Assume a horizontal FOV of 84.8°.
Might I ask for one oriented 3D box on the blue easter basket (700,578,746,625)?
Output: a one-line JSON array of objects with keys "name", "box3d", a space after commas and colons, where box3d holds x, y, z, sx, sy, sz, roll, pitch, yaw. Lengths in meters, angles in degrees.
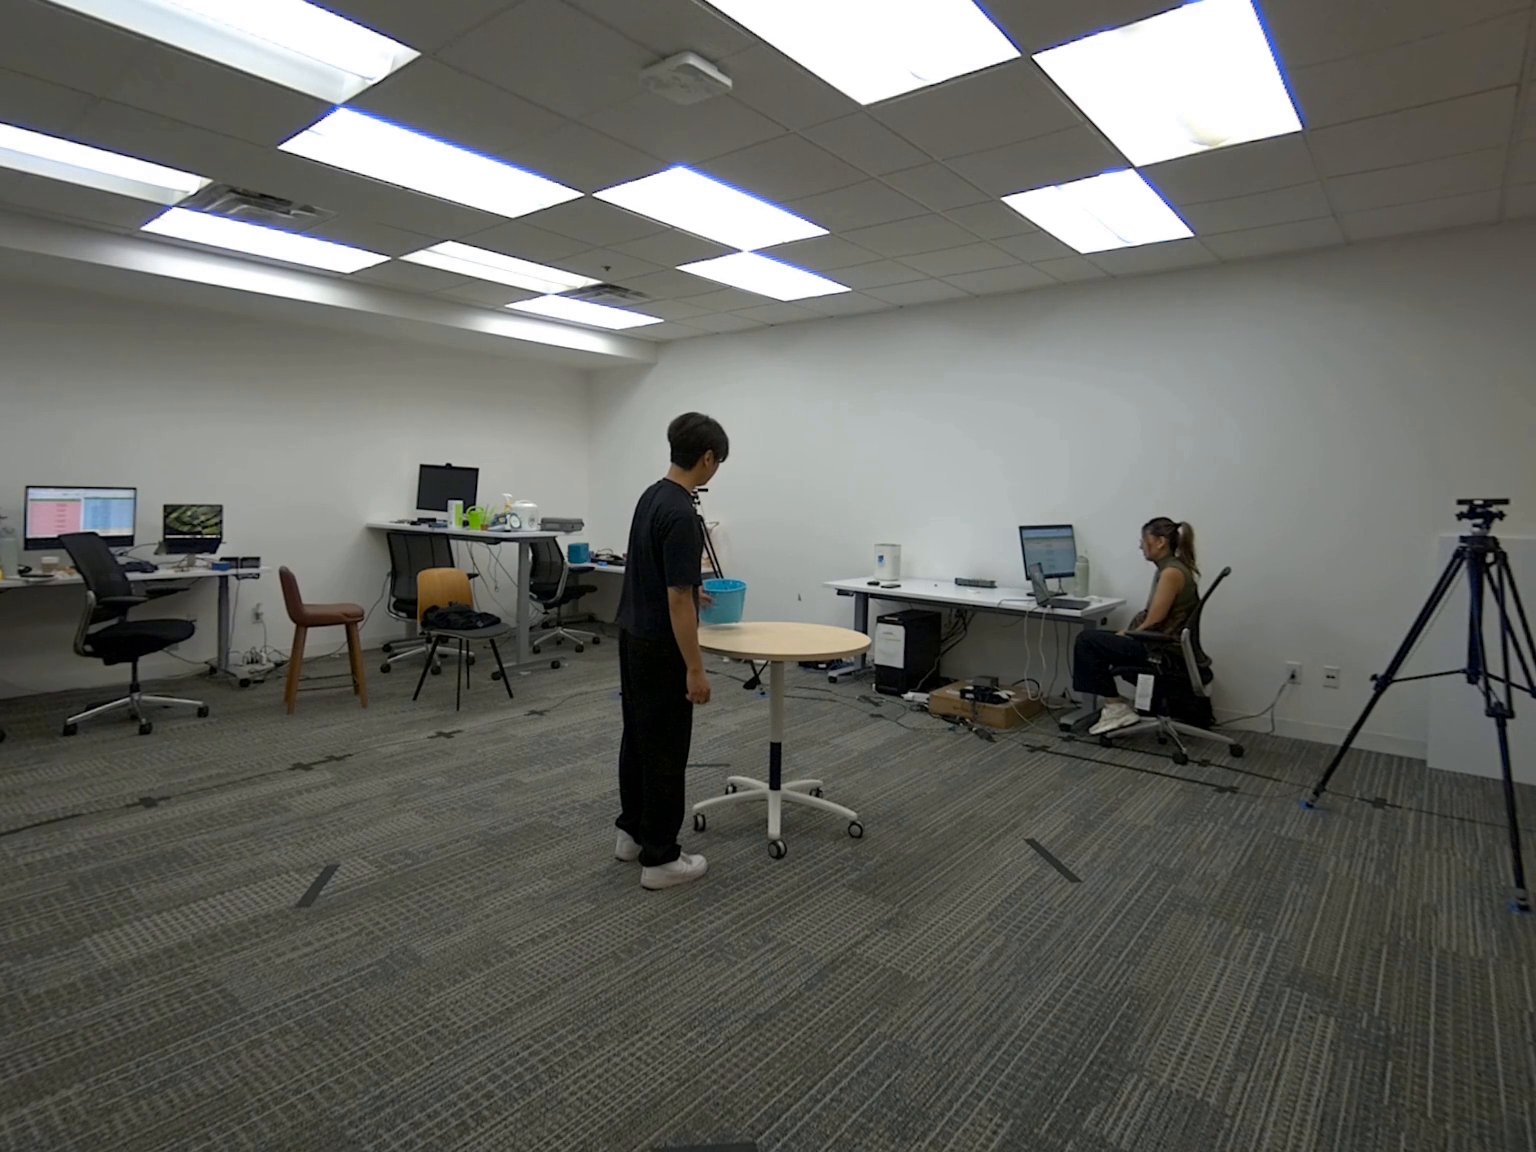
[{"name": "blue easter basket", "box3d": [-0.222, 0.110, 3.739, 0.243, 0.154, 0.246, 0, 11, -2]}]
